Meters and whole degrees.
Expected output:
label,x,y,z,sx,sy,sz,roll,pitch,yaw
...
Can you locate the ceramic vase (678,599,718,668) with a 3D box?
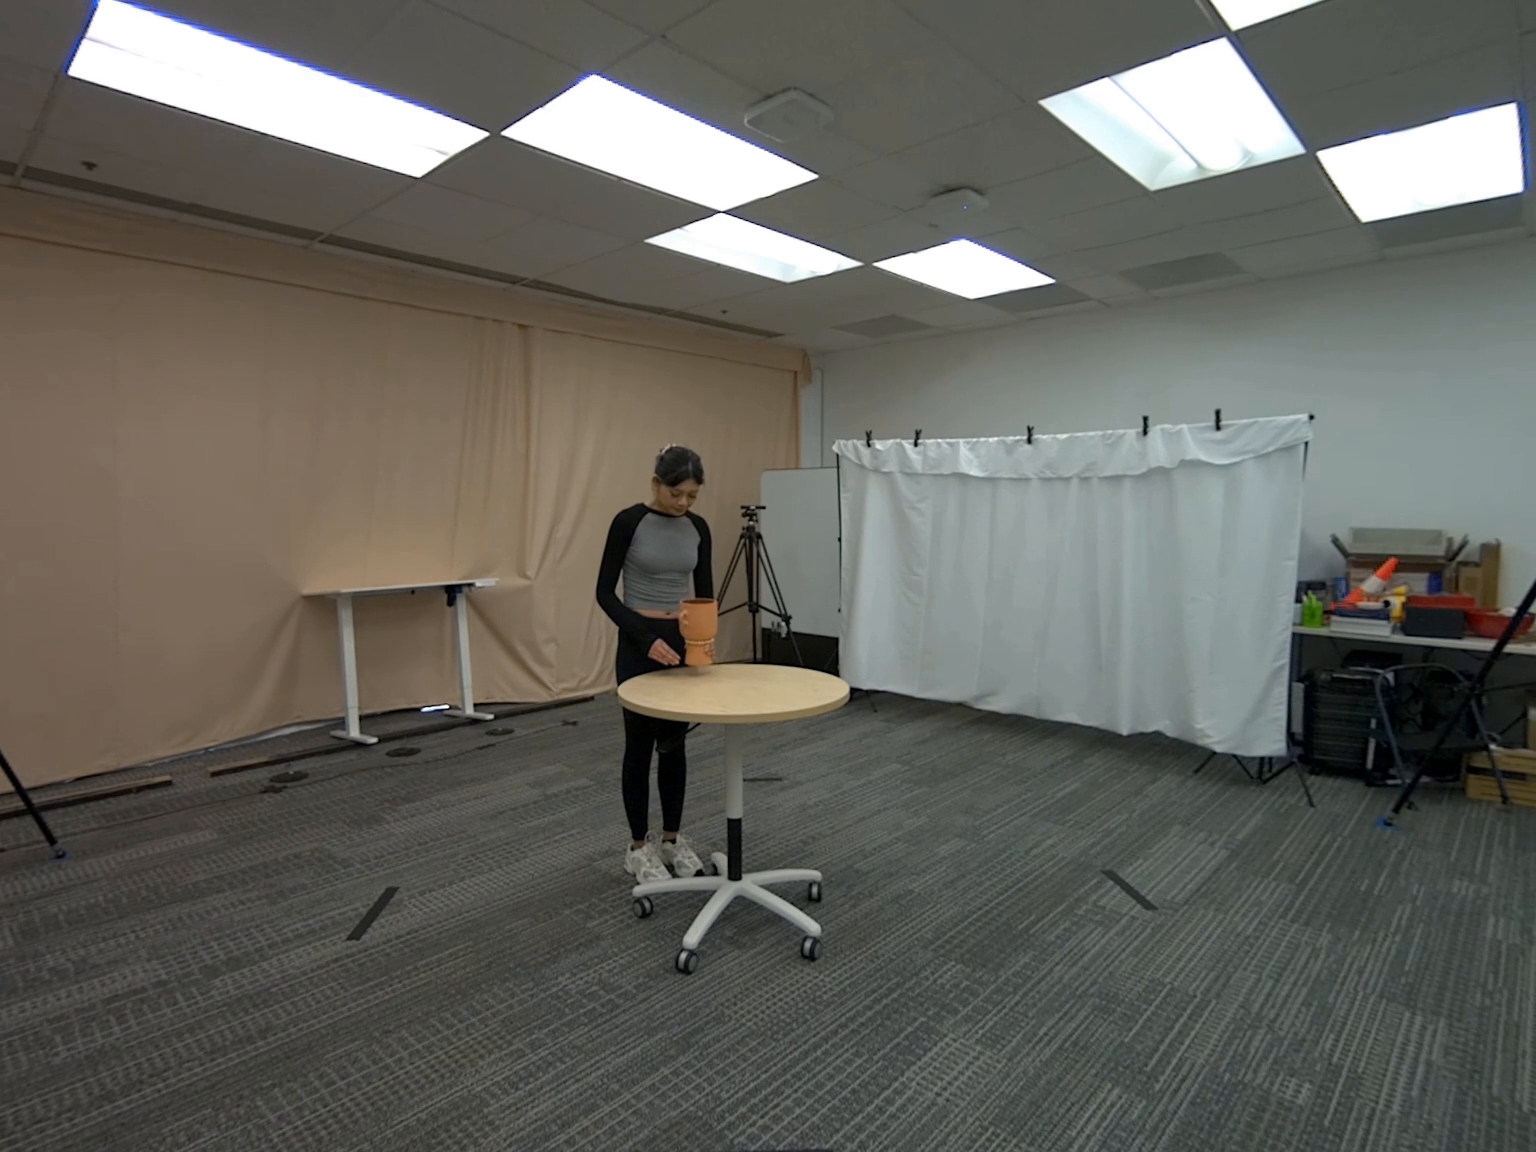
label,x,y,z,sx,sy,sz,roll,pitch,yaw
ceramic vase,-0.244,0.199,2.978,0.157,0.219,0.137,-2,8,-11
